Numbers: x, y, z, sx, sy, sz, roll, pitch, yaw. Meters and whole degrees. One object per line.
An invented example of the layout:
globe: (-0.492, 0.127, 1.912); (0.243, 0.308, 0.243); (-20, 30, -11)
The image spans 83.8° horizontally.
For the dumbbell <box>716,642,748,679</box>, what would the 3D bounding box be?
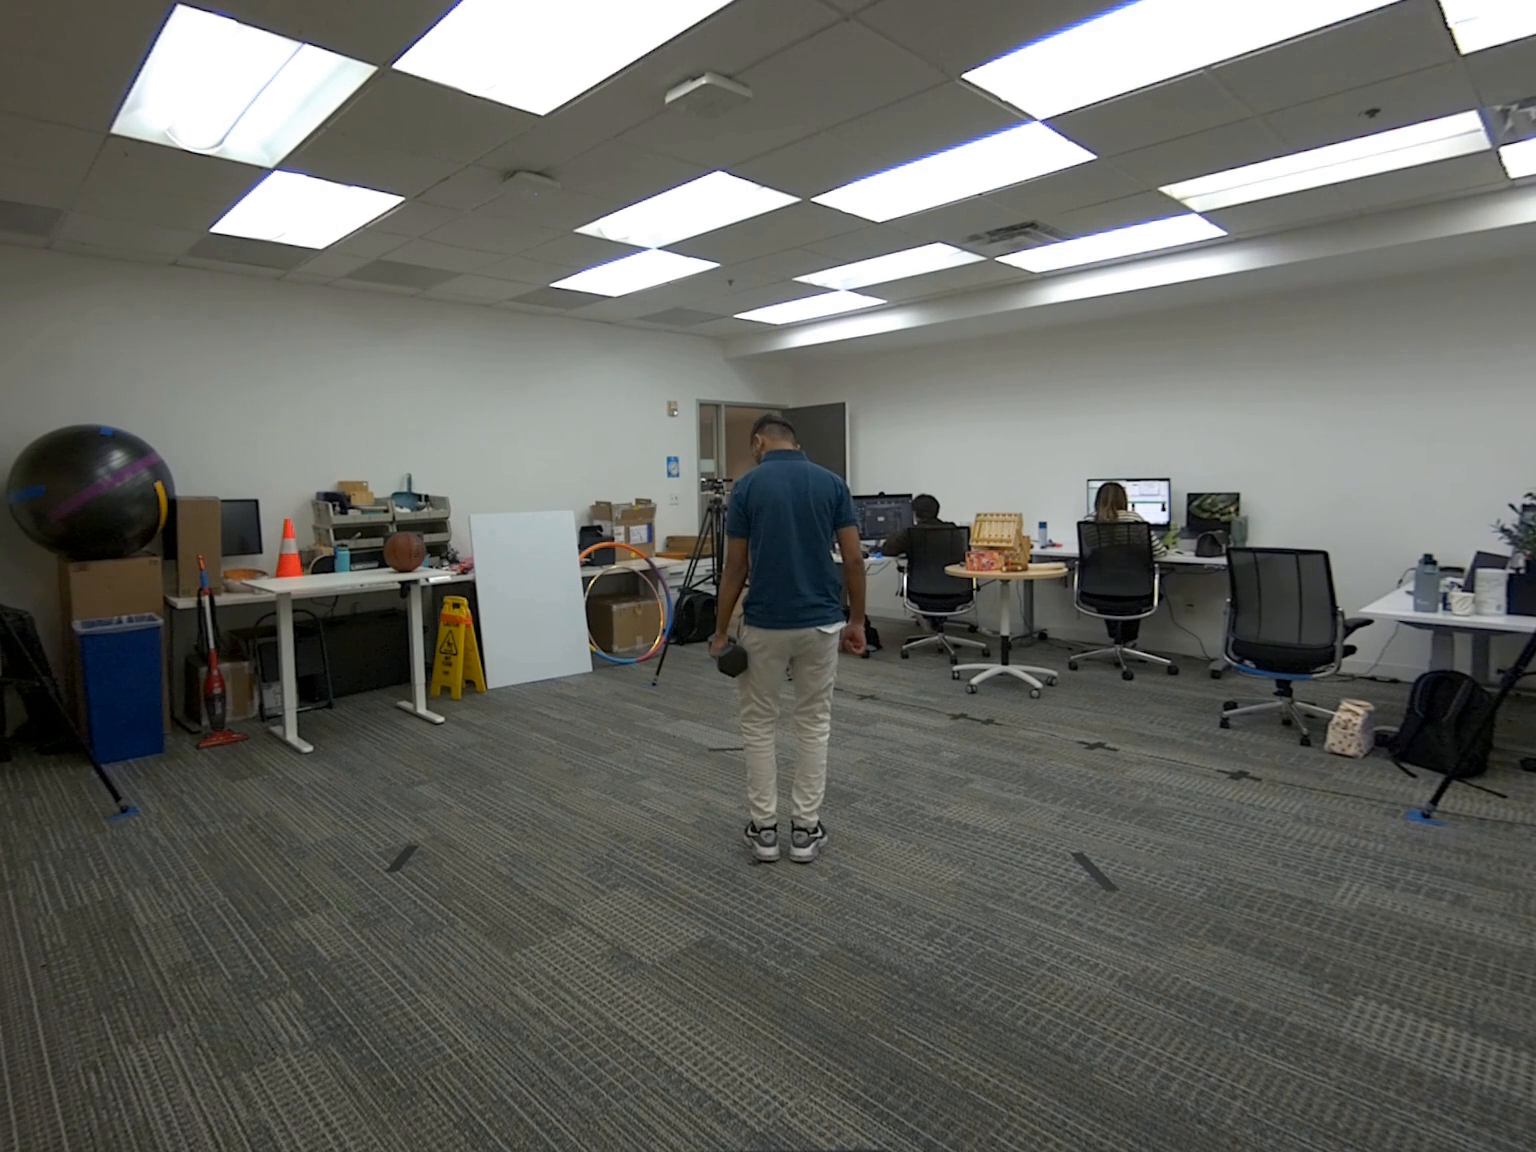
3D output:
dumbbell: (-0.157, 0.292, 3.240); (0.108, 0.122, 0.298); (-4, 8, -11)
